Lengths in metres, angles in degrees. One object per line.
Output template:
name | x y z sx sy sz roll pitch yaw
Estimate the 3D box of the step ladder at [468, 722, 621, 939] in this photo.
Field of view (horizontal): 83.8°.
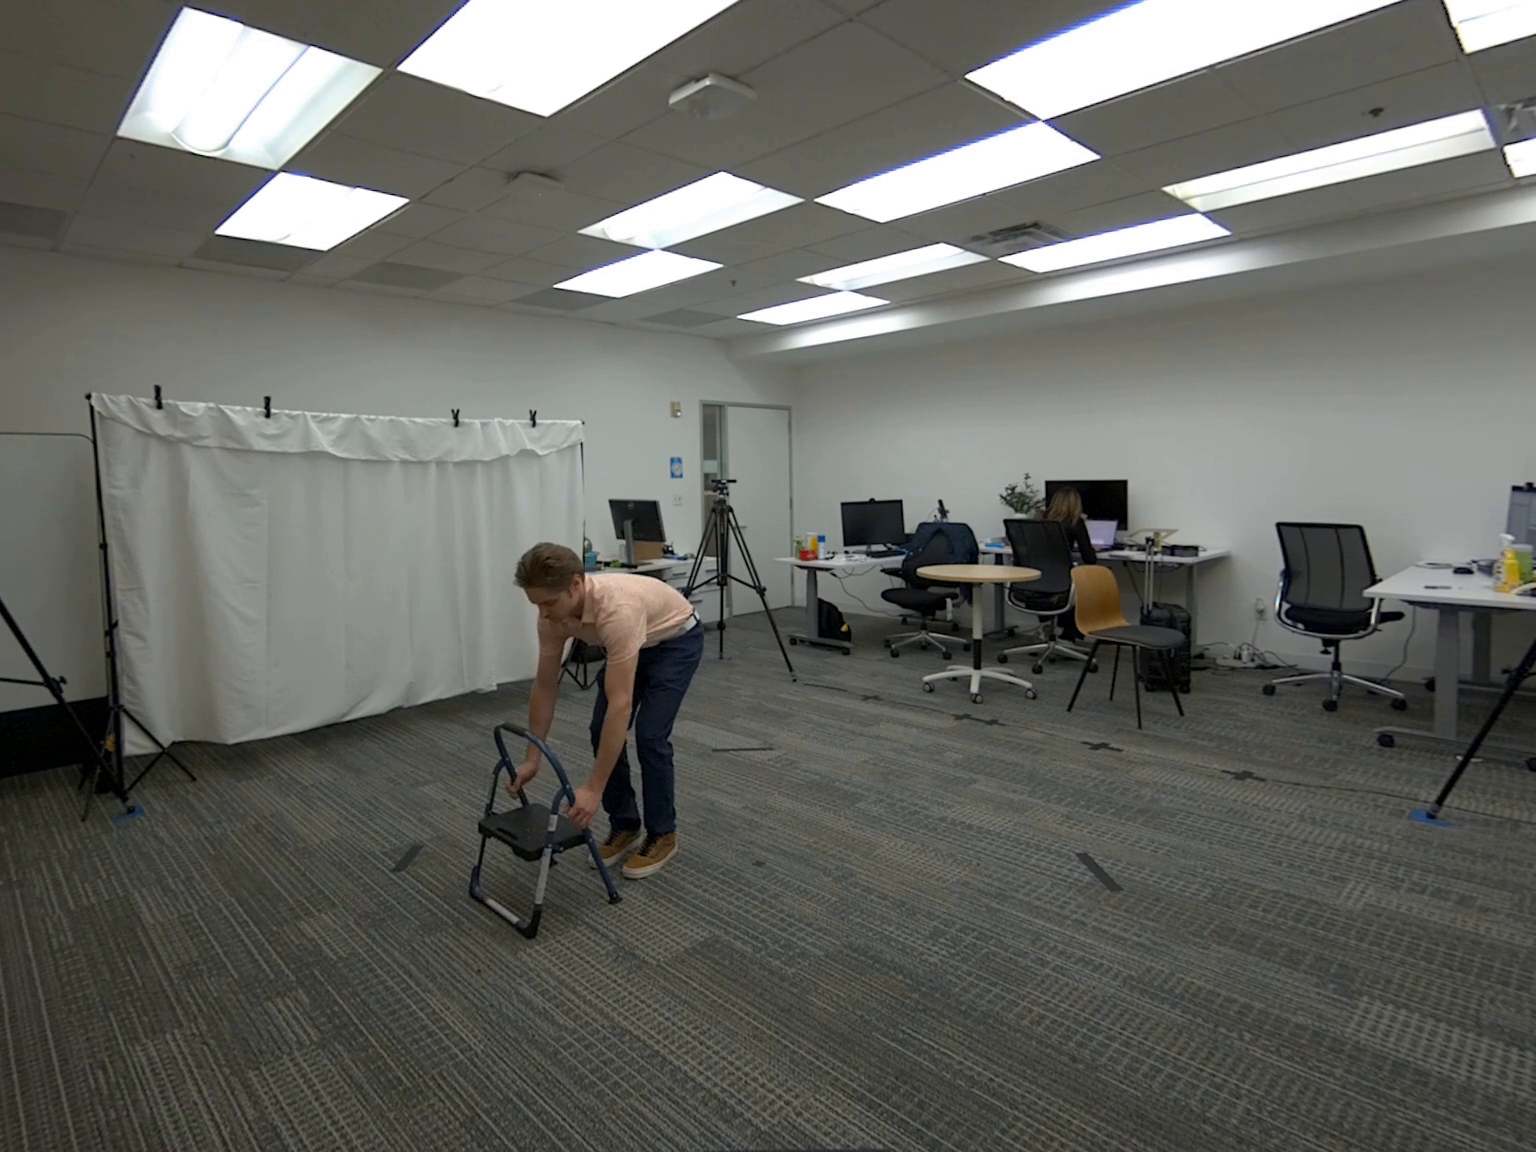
step ladder | -0.765 0.791 2.864 0.444 0.604 0.340 3 6 45
